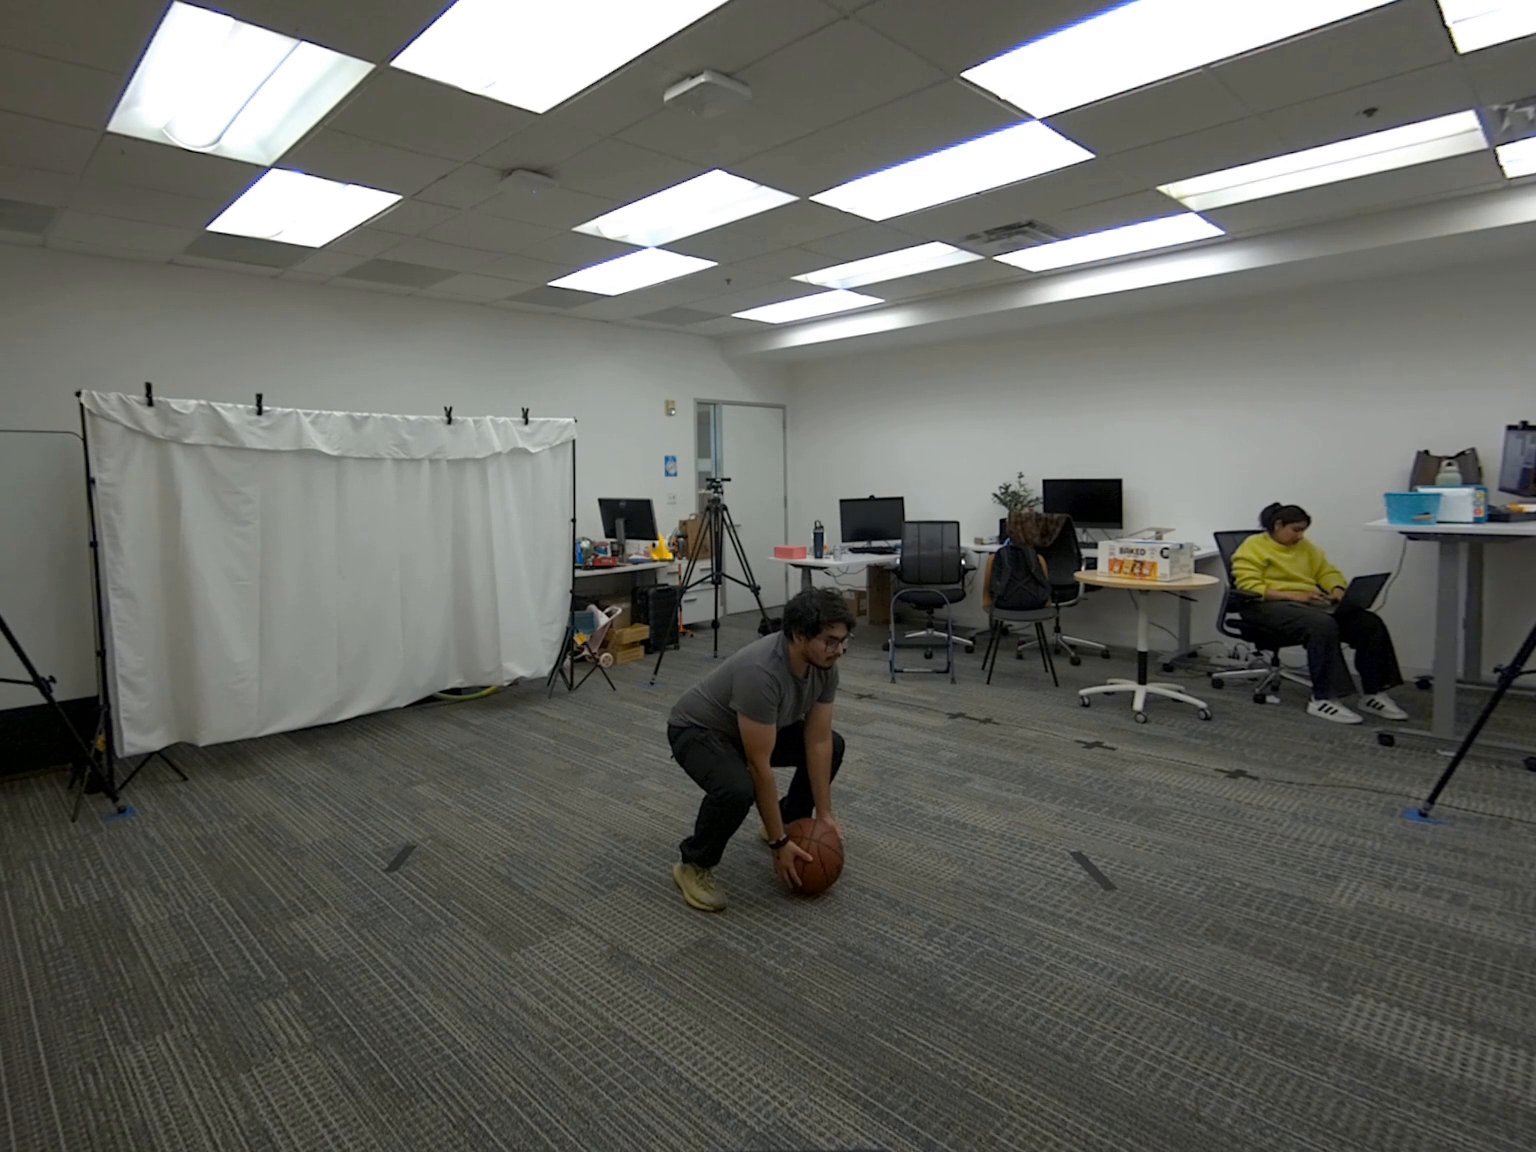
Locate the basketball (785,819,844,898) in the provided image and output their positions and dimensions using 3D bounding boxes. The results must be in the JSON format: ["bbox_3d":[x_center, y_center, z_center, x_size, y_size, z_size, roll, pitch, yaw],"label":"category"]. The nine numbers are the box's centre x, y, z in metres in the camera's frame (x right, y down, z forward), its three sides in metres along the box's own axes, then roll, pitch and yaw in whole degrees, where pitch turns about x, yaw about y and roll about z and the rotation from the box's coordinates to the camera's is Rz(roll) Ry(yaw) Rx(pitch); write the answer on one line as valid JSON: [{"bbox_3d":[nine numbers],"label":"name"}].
[{"bbox_3d":[0.142,0.945,2.885,0.236,0.235,0.237,-1,5,-2],"label":"basketball"}]
